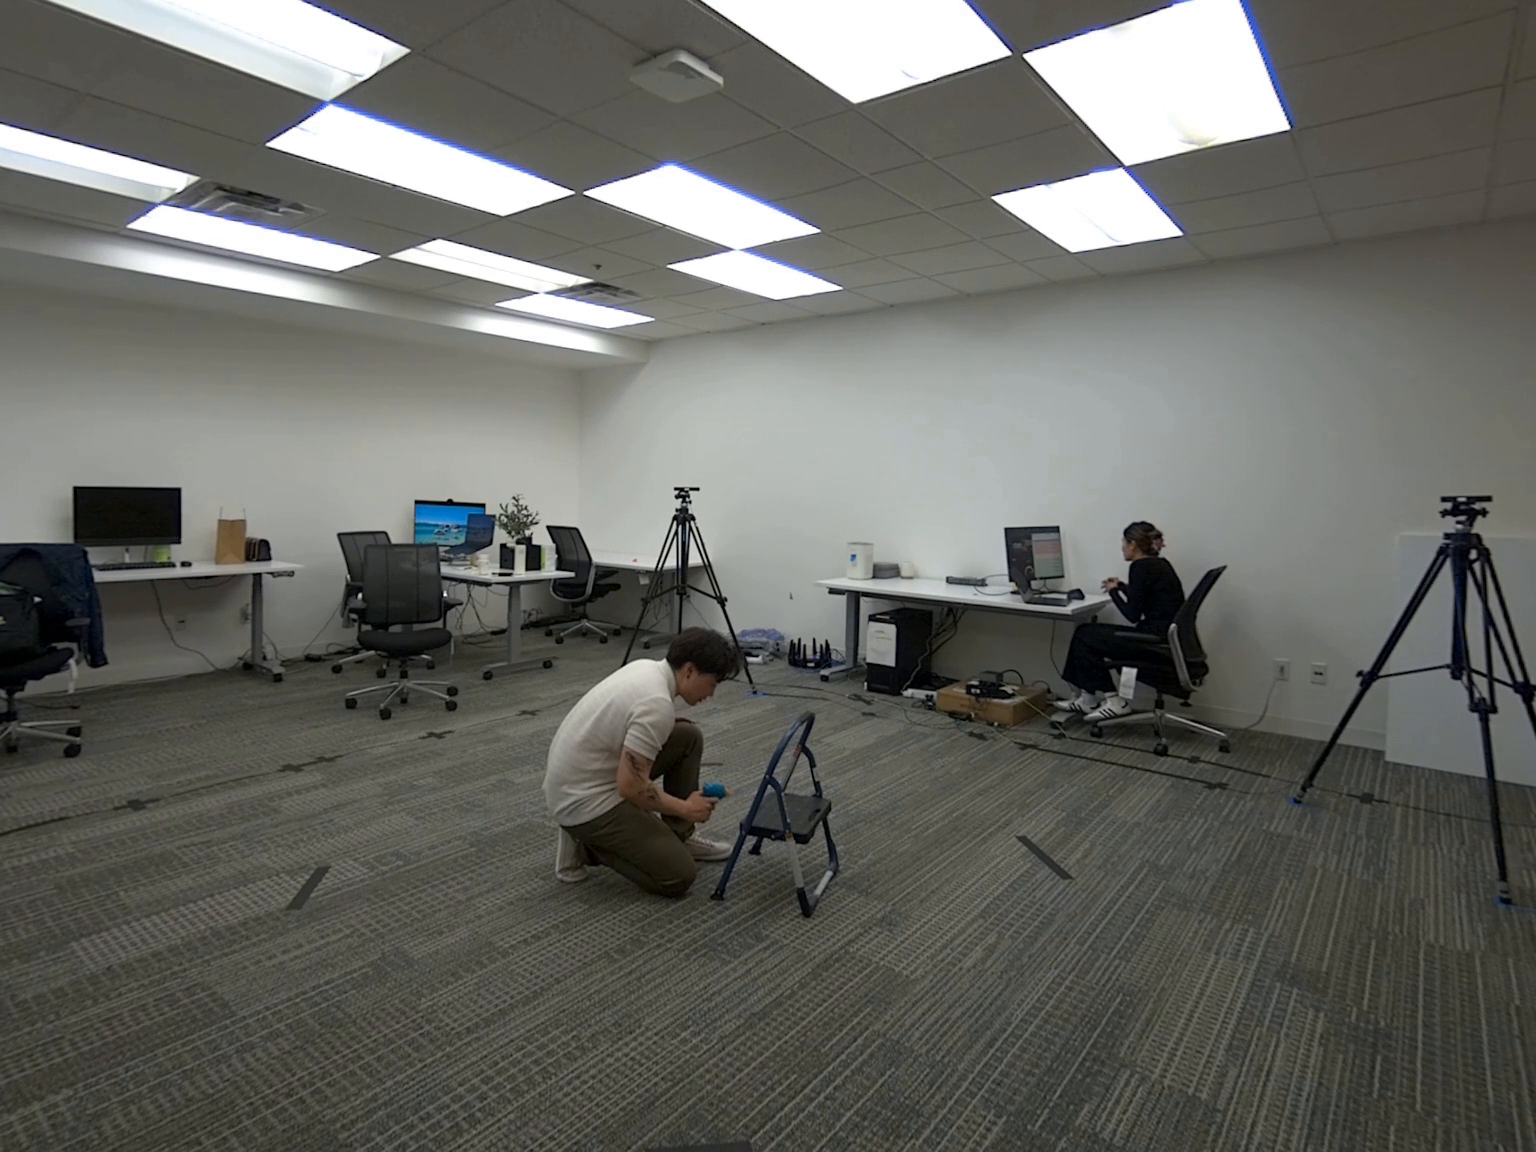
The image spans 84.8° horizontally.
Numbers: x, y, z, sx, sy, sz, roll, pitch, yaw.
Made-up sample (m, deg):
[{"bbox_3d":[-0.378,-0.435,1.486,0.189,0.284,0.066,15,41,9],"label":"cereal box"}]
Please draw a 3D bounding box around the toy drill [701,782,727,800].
[{"bbox_3d":[-0.213,0.788,2.991,0.064,0.146,0.163,45,7,39],"label":"toy drill"}]
